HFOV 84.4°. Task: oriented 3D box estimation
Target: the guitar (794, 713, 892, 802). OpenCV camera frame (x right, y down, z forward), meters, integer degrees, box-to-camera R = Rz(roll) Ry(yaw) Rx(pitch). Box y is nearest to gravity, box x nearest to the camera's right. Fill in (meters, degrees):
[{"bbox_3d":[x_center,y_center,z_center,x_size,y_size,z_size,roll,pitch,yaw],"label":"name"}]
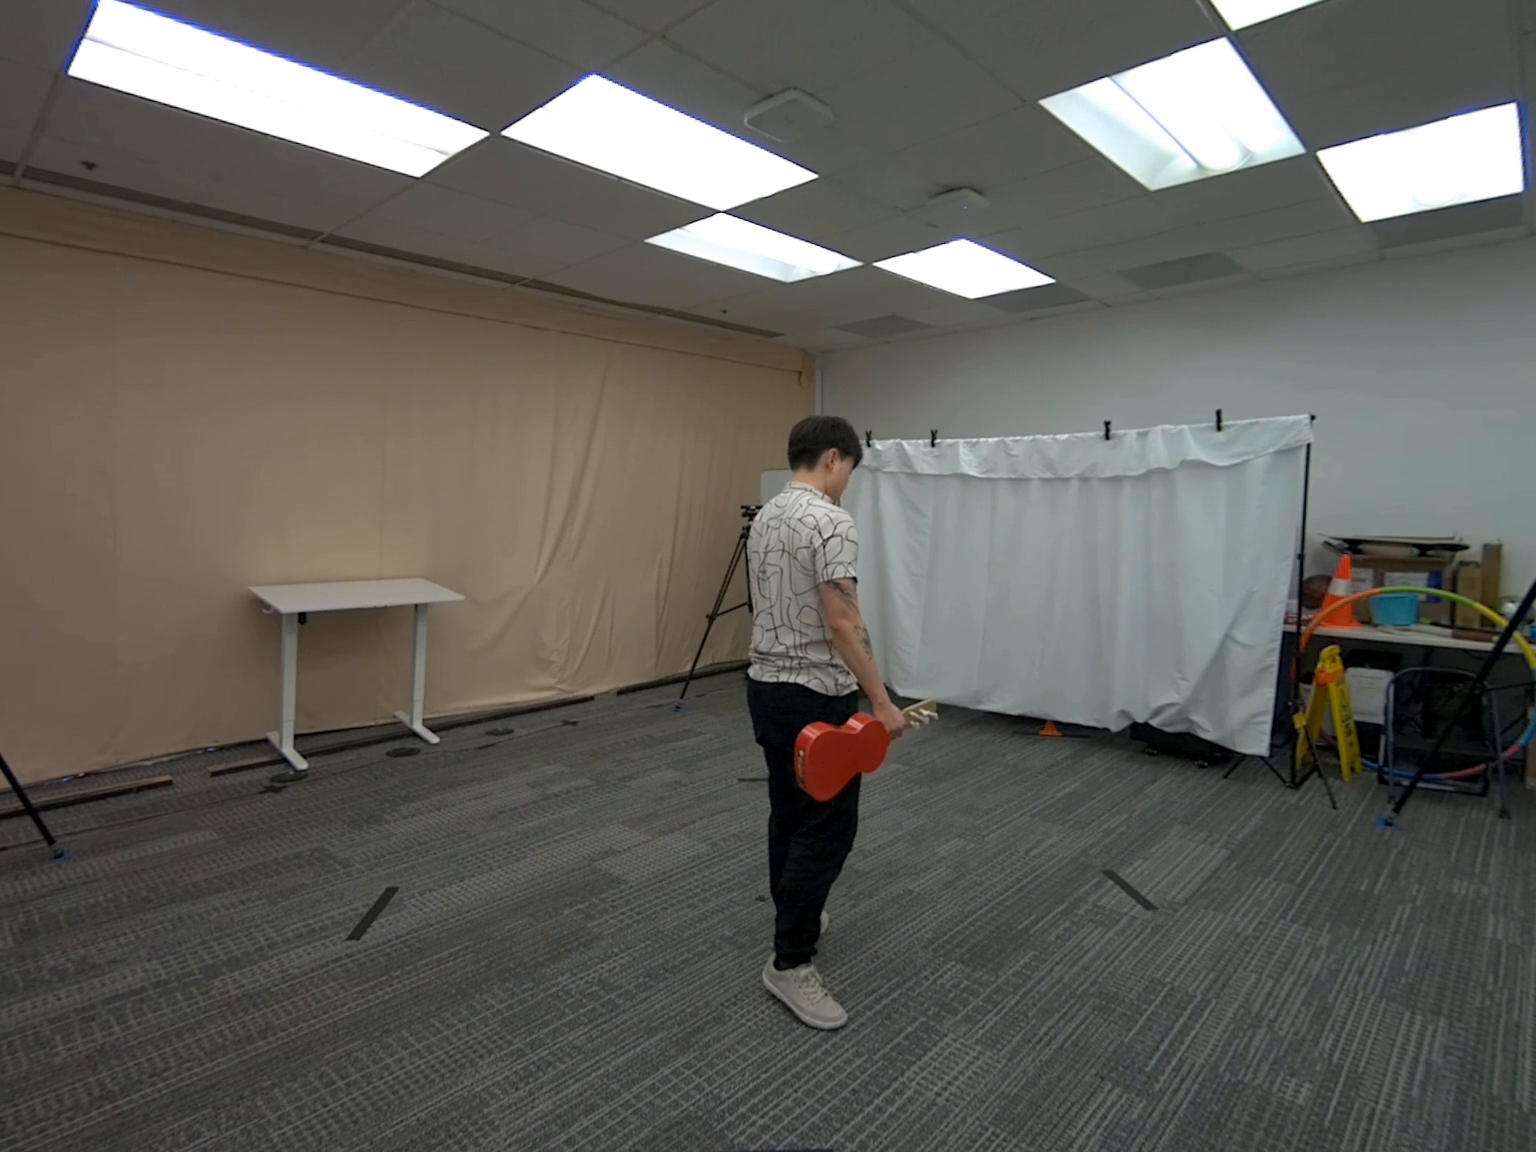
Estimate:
[{"bbox_3d":[0.275,0.409,2.257,0.489,0.190,0.073,-23,23,-26],"label":"guitar"}]
